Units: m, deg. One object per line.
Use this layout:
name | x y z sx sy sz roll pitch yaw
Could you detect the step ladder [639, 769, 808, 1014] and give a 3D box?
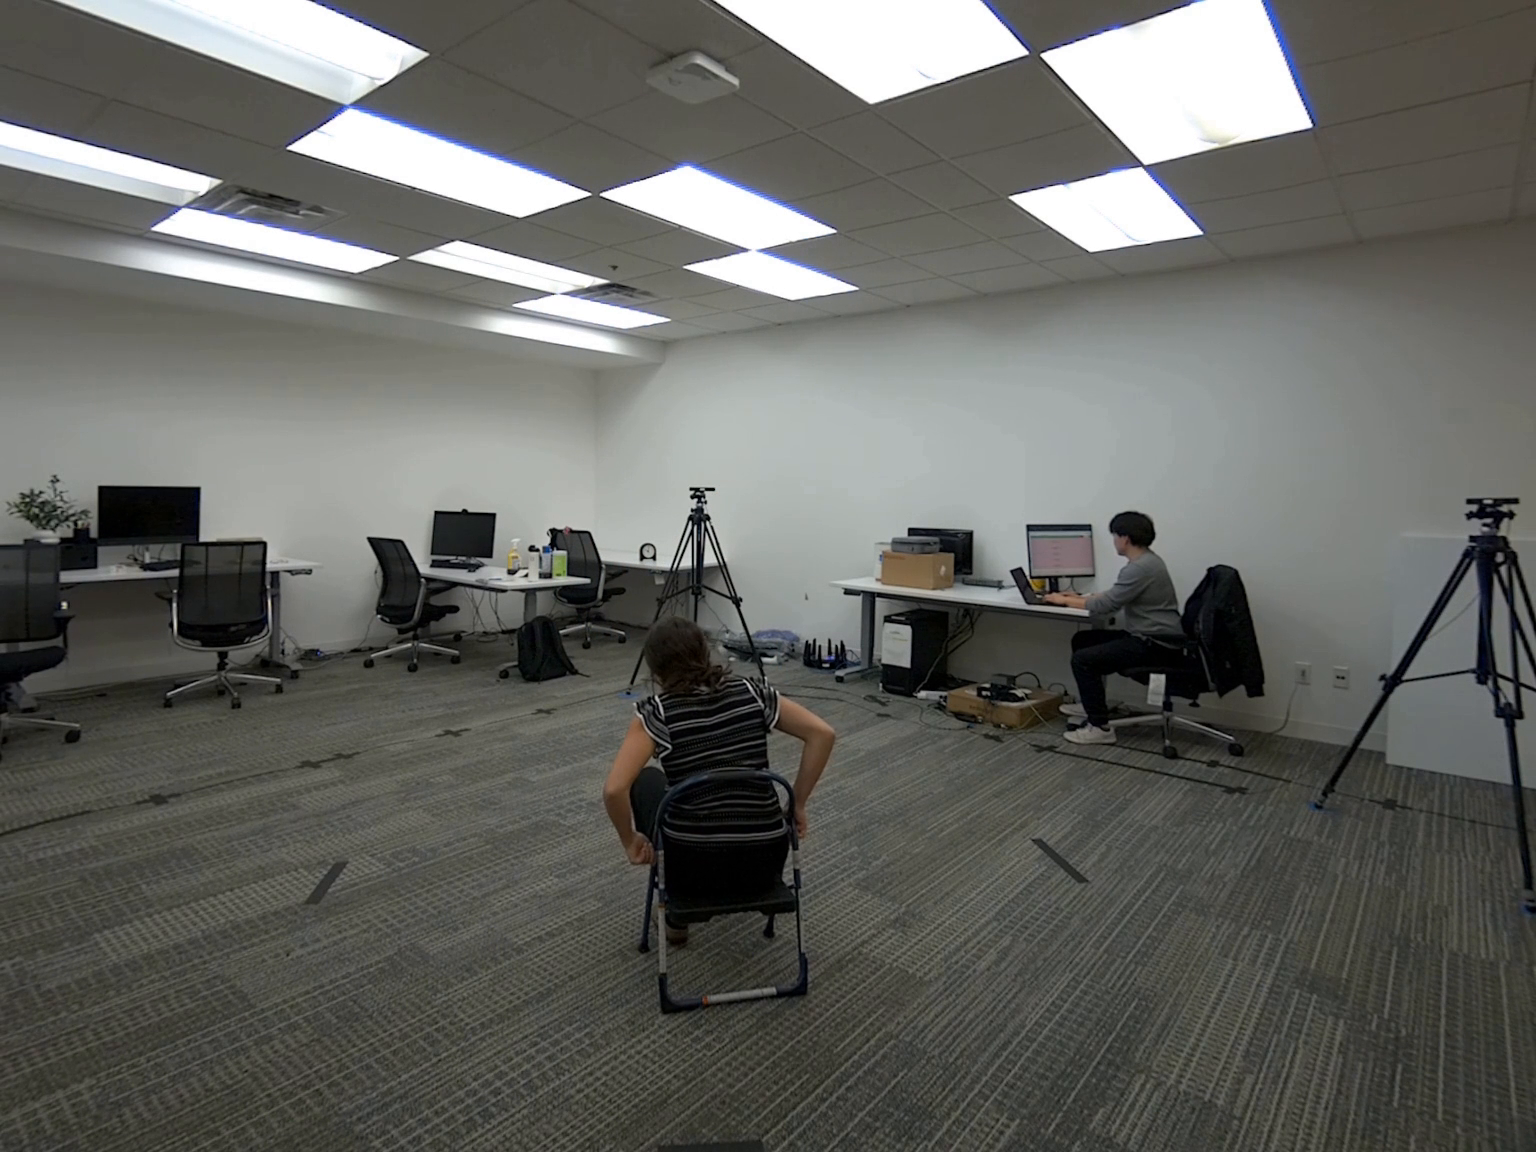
step ladder | -0.140 0.845 2.442 0.423 0.604 0.356 -1 4 -17
